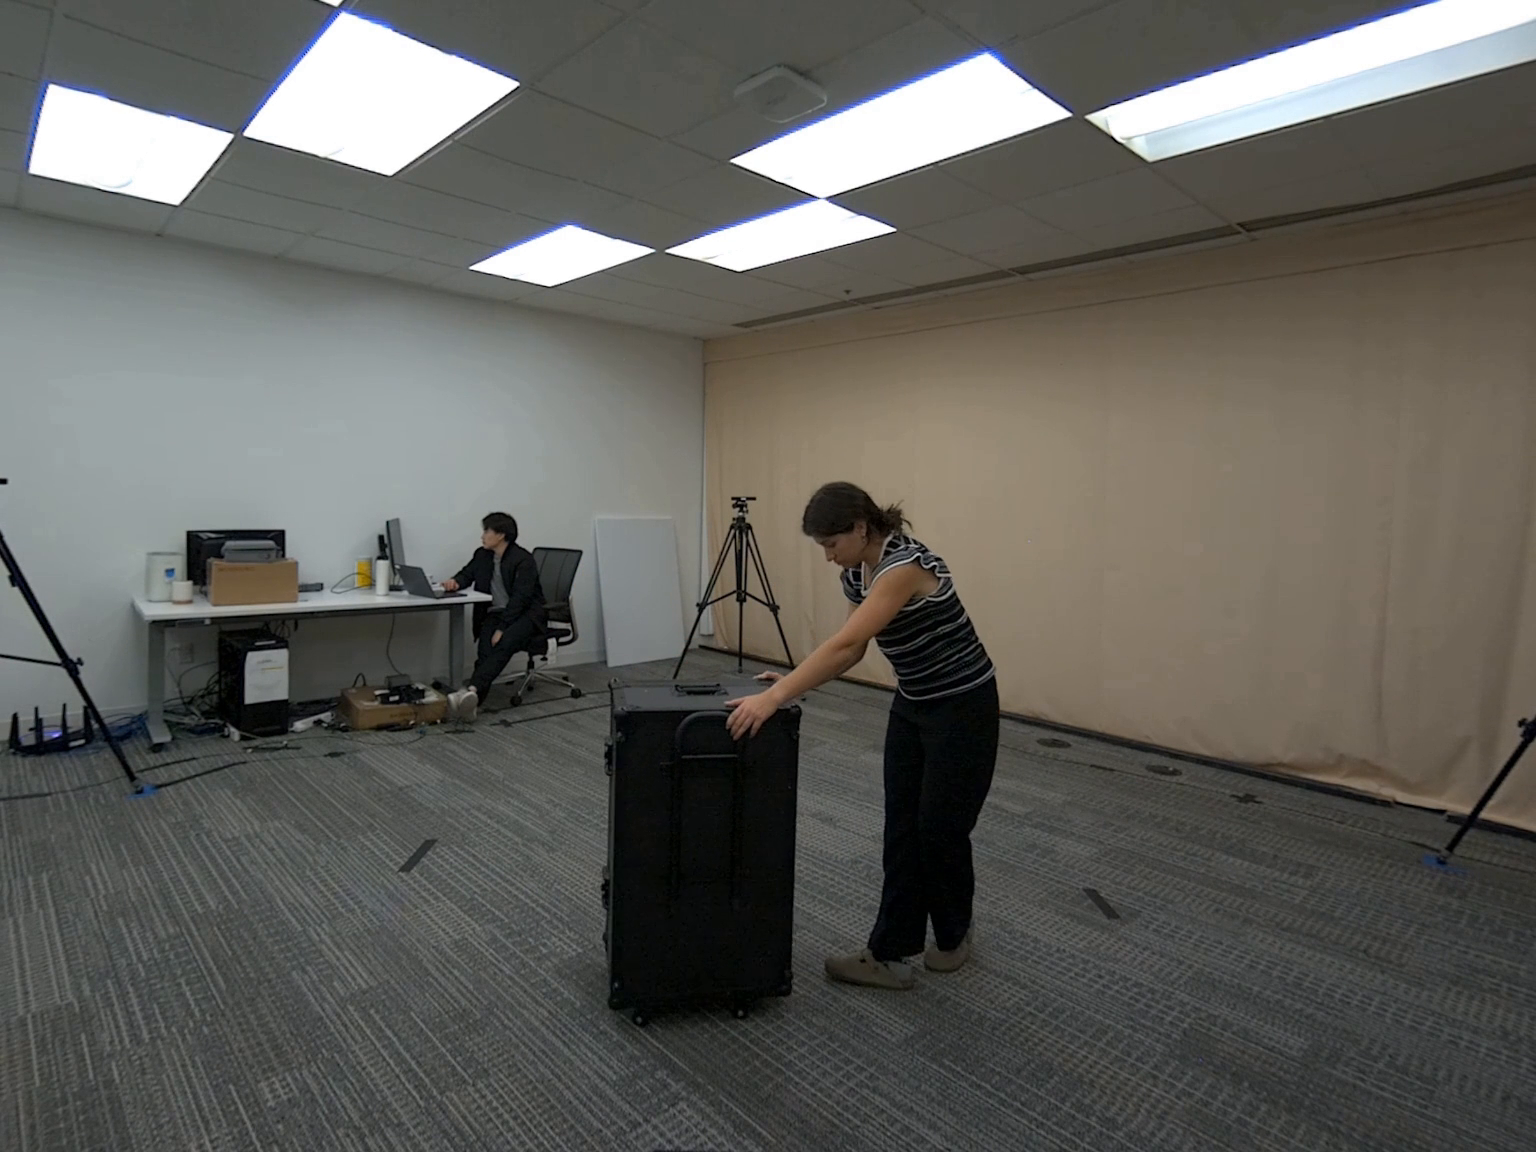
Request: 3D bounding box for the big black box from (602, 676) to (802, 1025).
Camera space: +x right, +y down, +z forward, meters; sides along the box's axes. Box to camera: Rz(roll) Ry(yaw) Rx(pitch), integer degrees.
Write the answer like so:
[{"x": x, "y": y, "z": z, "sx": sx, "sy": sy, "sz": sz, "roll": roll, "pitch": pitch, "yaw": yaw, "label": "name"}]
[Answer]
[{"x": -0.199, "y": 0.756, "z": 2.341, "sx": 0.517, "sy": 0.858, "sz": 0.401, "roll": 0, "pitch": 5, "yaw": -11, "label": "big black box"}]
